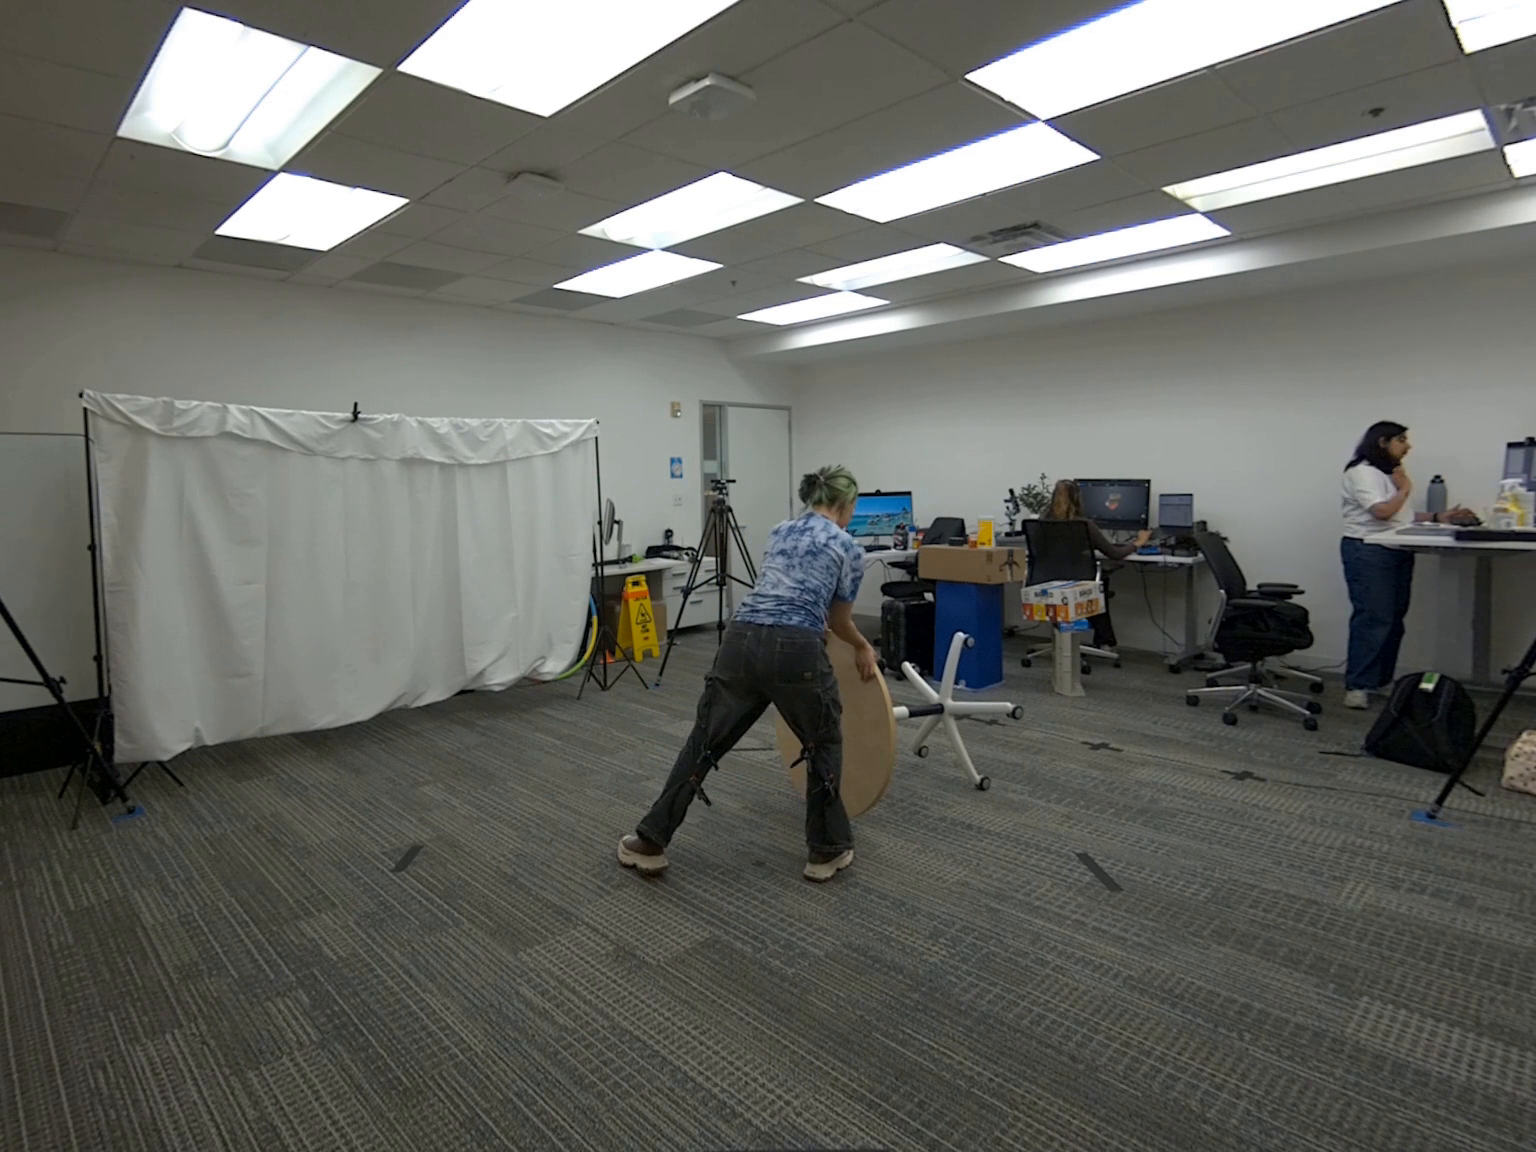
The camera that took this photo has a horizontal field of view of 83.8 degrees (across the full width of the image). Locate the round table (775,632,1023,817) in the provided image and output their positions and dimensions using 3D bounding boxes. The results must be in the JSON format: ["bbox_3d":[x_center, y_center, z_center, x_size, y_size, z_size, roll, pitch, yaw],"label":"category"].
[{"bbox_3d":[0.577,0.615,3.751,0.773,0.763,0.786,1,3,-33],"label":"round table"}]
